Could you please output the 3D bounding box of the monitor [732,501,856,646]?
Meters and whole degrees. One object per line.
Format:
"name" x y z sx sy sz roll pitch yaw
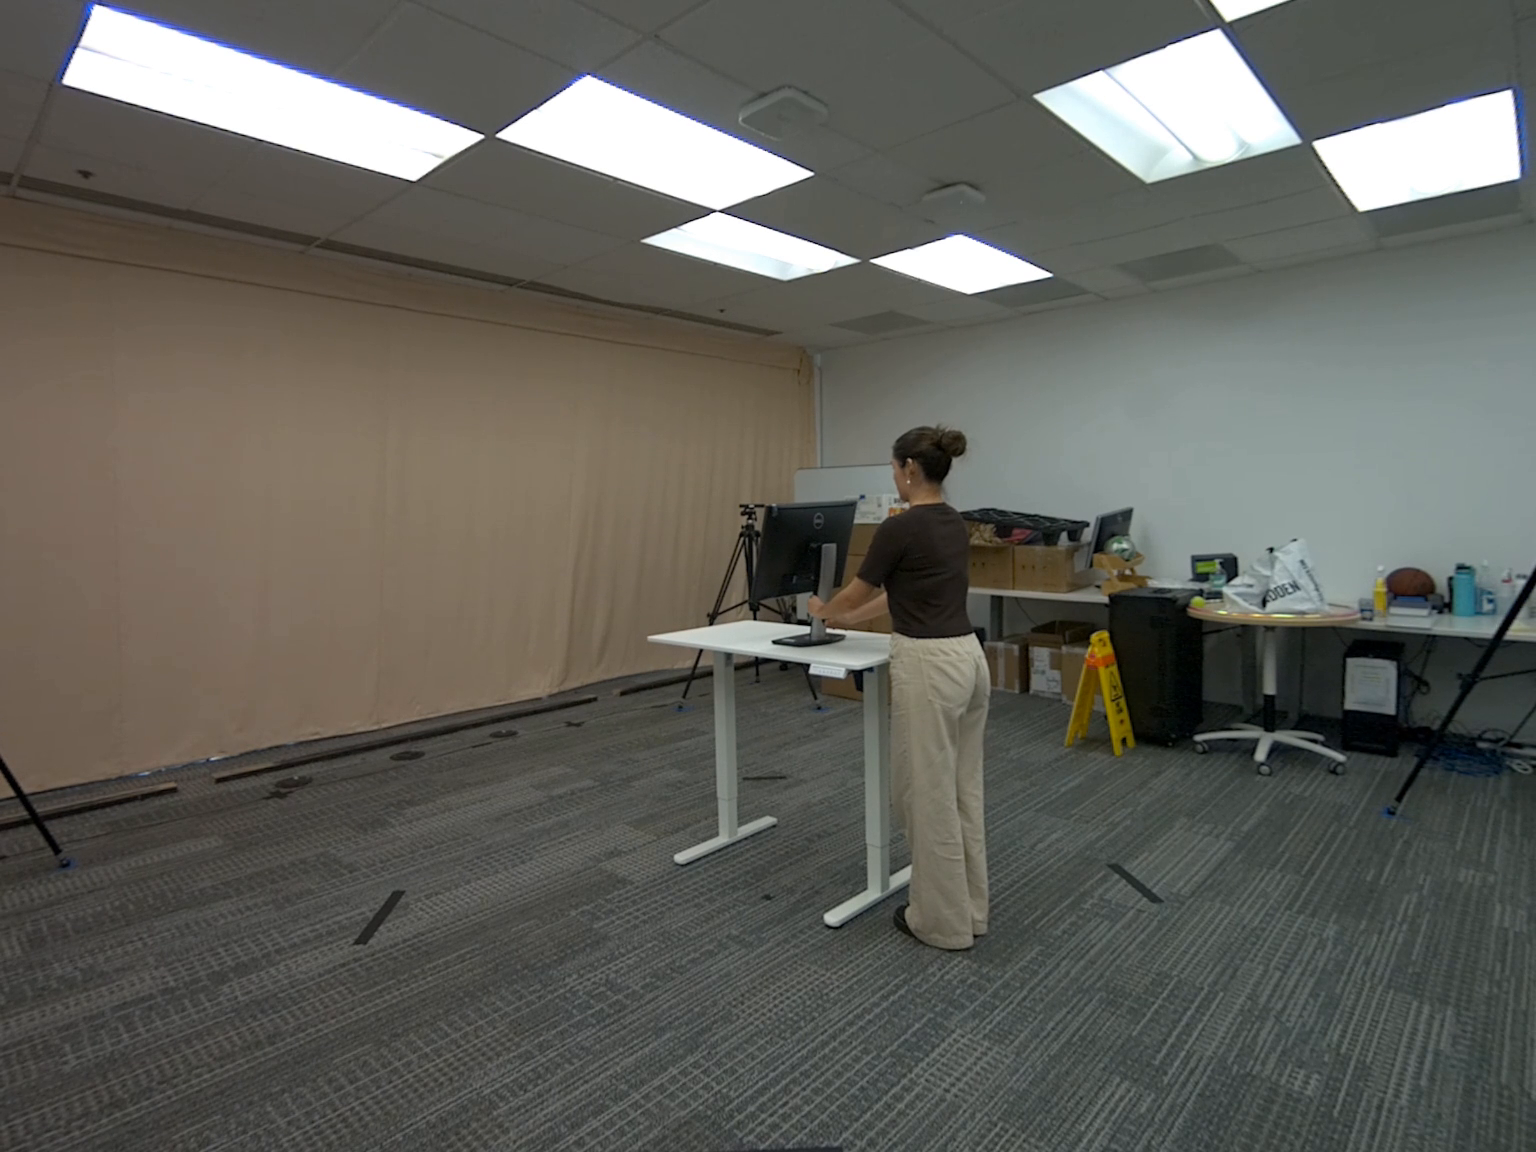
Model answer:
"monitor" 0.162 -0.013 3.101 0.180 0.515 0.514 -4 2 42
